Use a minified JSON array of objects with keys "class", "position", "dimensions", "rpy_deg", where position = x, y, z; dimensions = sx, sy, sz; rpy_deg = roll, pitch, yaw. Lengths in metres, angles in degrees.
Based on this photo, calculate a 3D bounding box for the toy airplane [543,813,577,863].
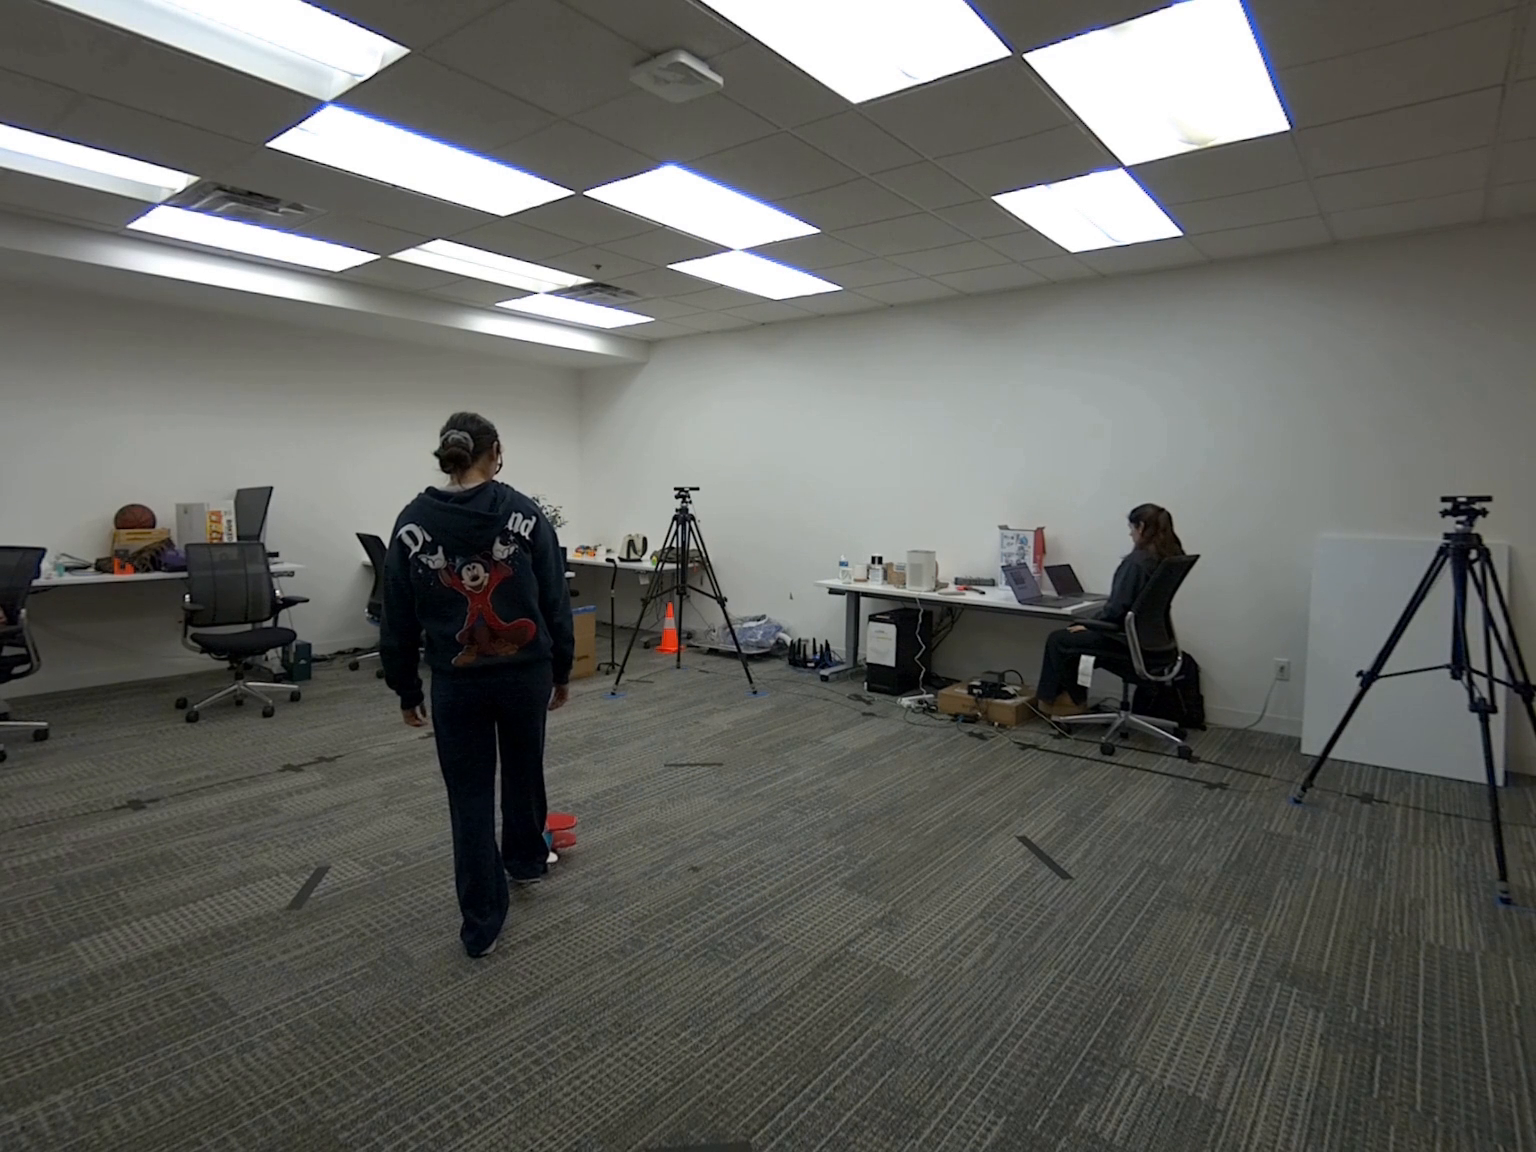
[{"class":"toy airplane","position":[-0.831,0.978,3.145],"dimensions":[0.244,0.156,0.268],"rpy_deg":[-3,5,-39]}]
